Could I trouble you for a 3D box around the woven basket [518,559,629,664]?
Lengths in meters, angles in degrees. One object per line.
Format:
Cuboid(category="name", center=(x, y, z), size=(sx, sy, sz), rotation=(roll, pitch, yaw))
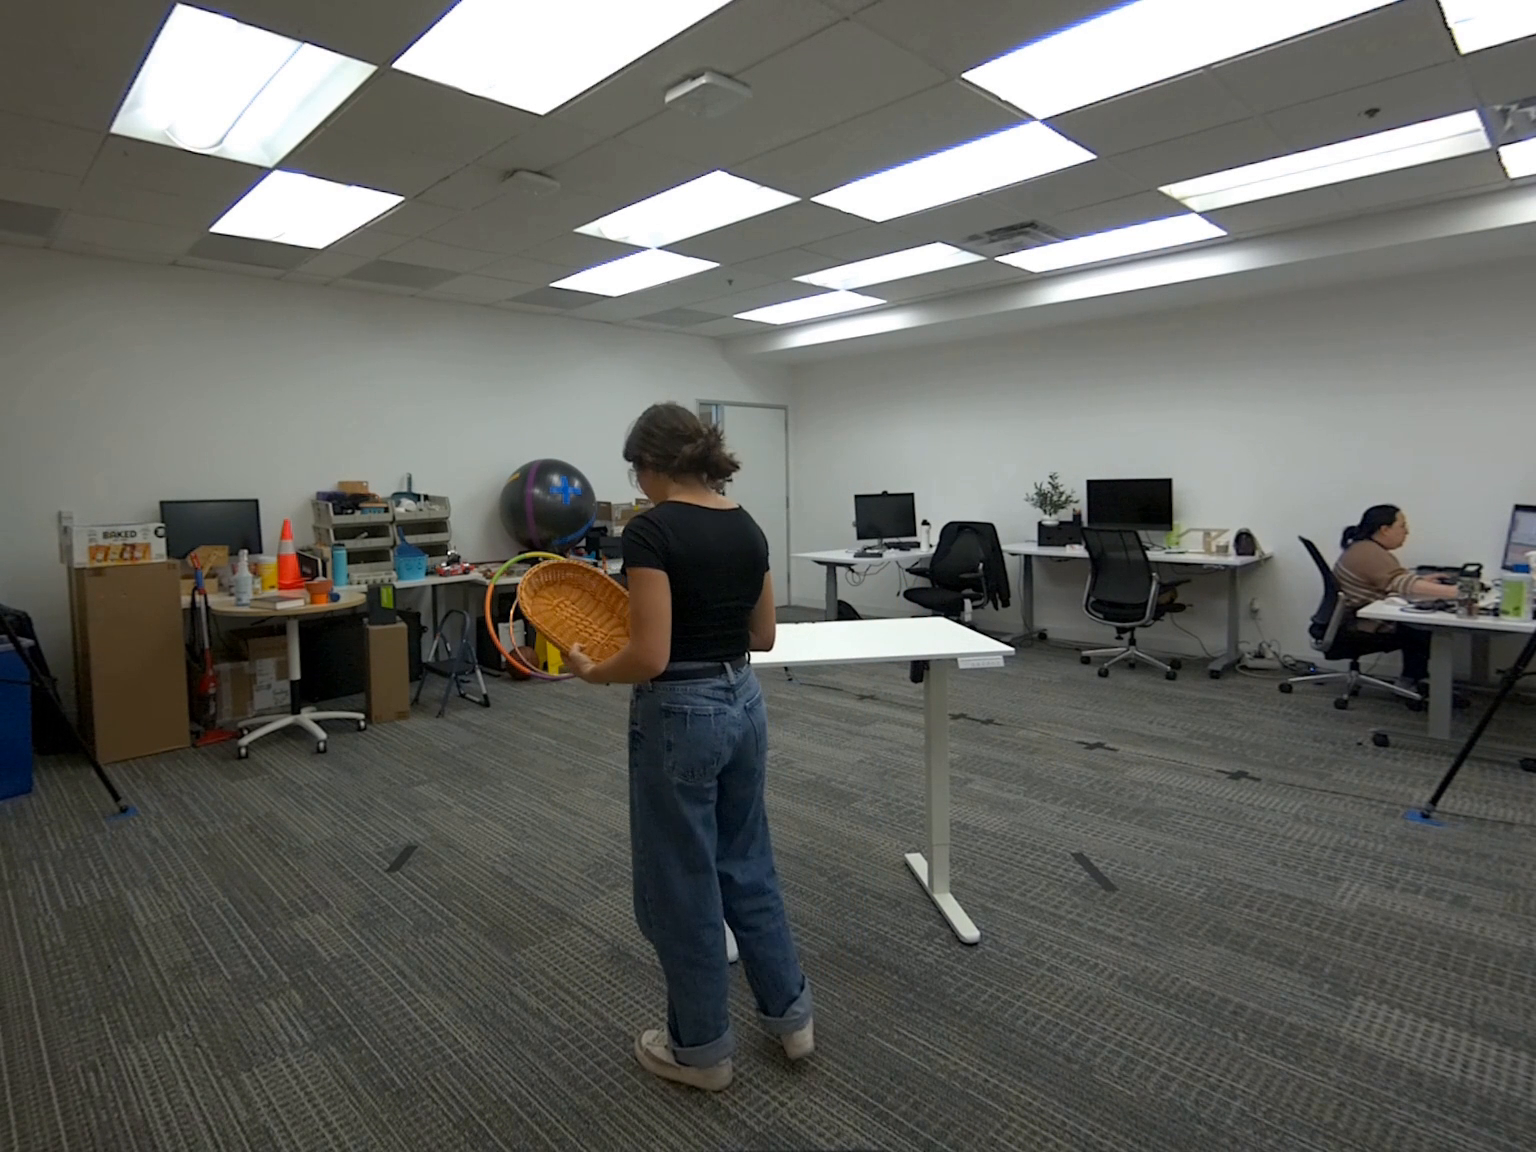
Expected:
Cuboid(category="woven basket", center=(-0.436, 0.107, 2.076), size=(0.356, 0.072, 0.251), rotation=(36, 43, 12))
